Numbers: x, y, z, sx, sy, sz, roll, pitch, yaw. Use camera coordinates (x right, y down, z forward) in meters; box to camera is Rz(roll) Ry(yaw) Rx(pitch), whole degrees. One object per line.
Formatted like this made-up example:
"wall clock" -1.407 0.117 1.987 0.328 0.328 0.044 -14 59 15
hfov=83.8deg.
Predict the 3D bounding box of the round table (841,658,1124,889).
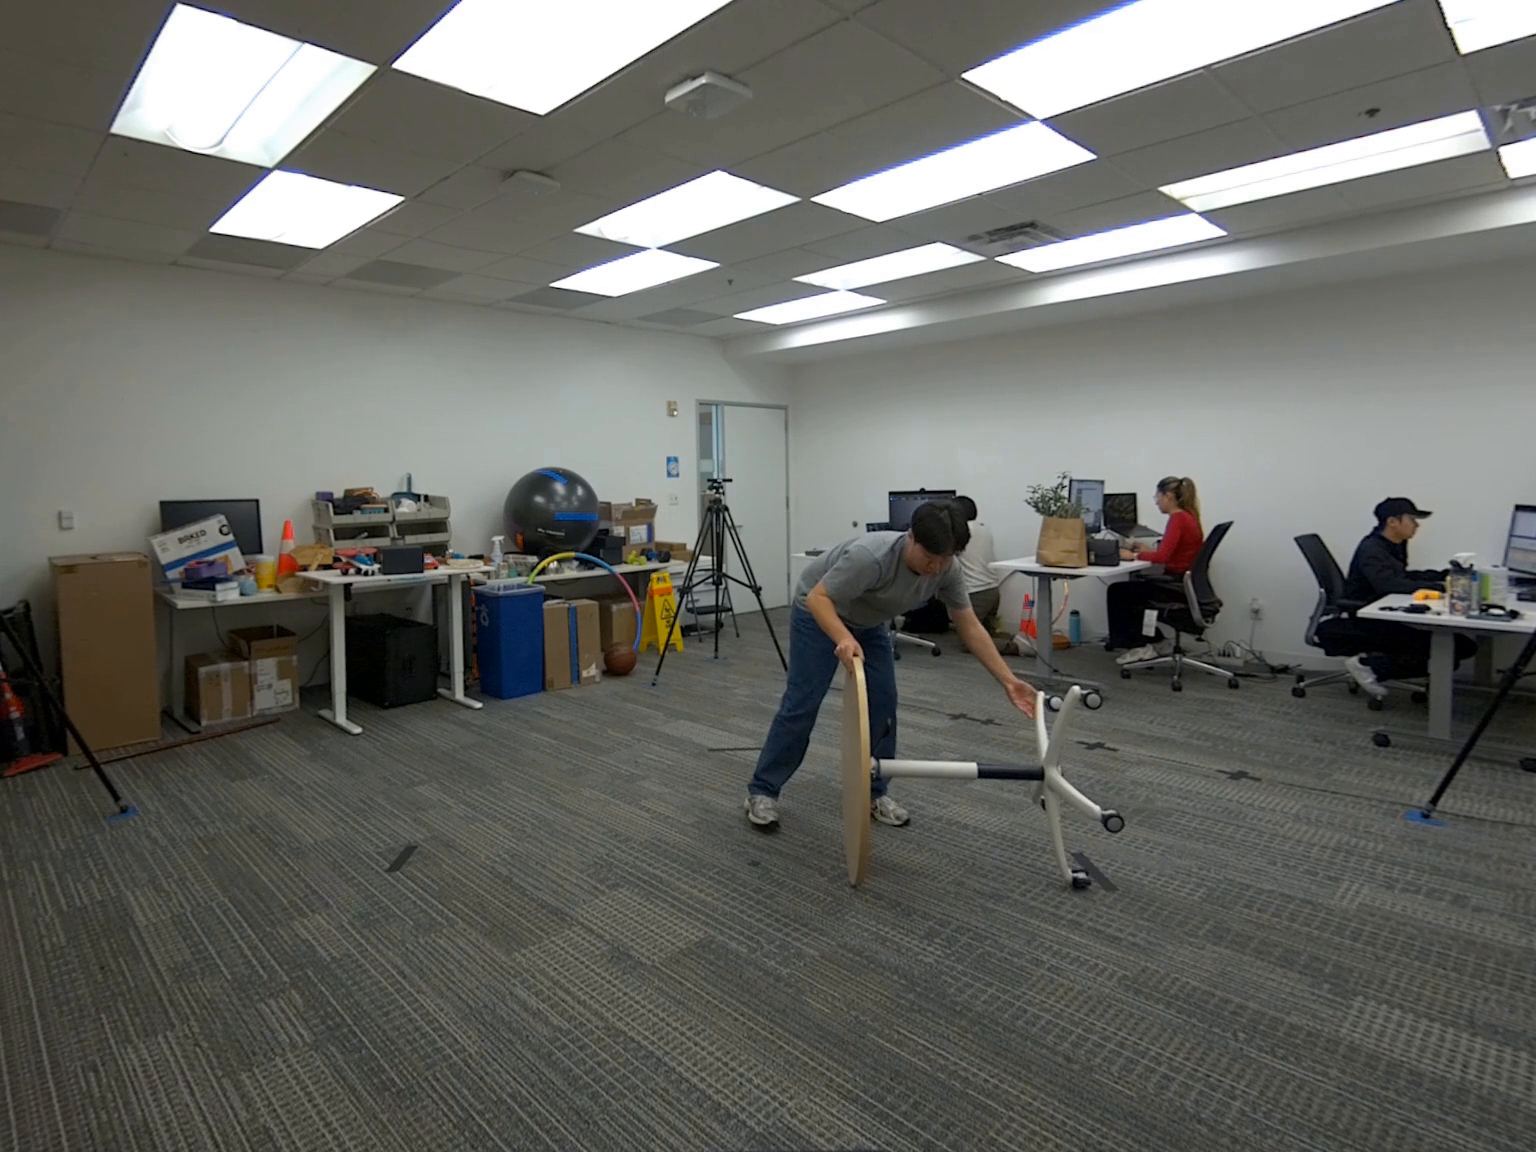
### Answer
"round table" 0.698 0.685 2.956 0.797 0.761 0.764 1 5 3
